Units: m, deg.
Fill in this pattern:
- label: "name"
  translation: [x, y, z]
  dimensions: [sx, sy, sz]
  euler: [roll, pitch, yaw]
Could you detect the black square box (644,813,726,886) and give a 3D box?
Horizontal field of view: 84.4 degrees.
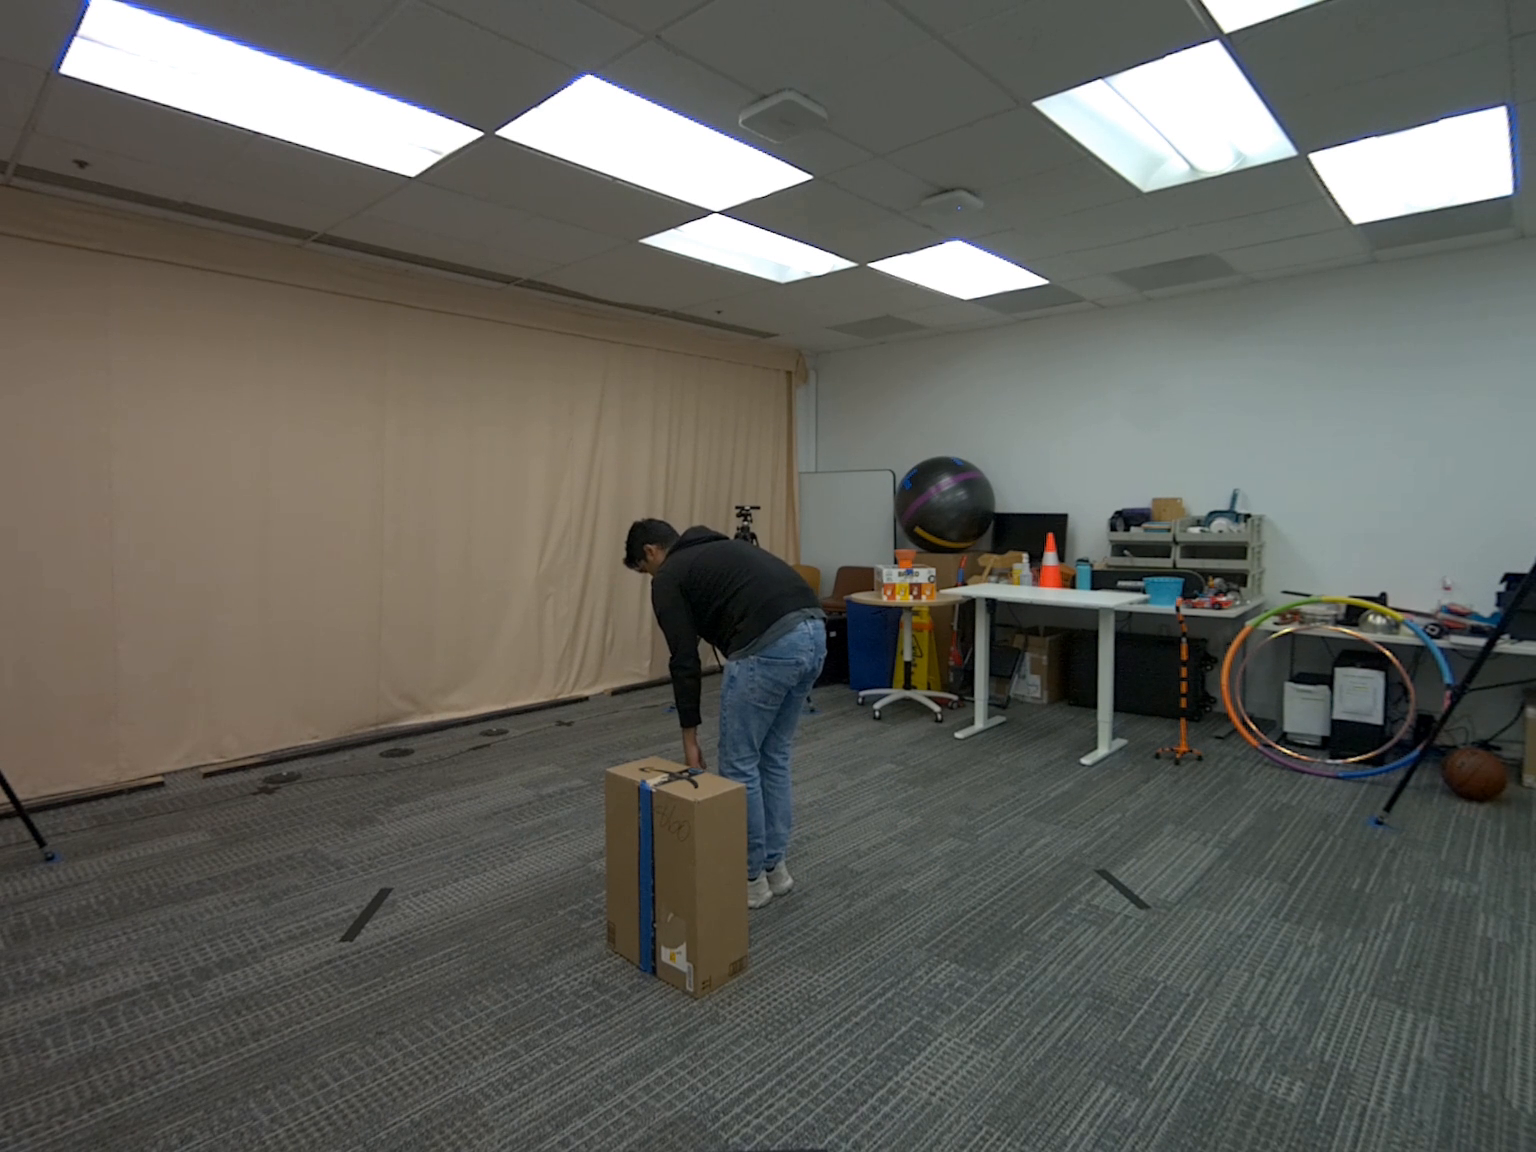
- label: "black square box"
  translation: [-0.321, 1.041, 3.250]
  dimensions: [0.221, 0.155, 0.224]
  euler: [-3, 5, -35]
